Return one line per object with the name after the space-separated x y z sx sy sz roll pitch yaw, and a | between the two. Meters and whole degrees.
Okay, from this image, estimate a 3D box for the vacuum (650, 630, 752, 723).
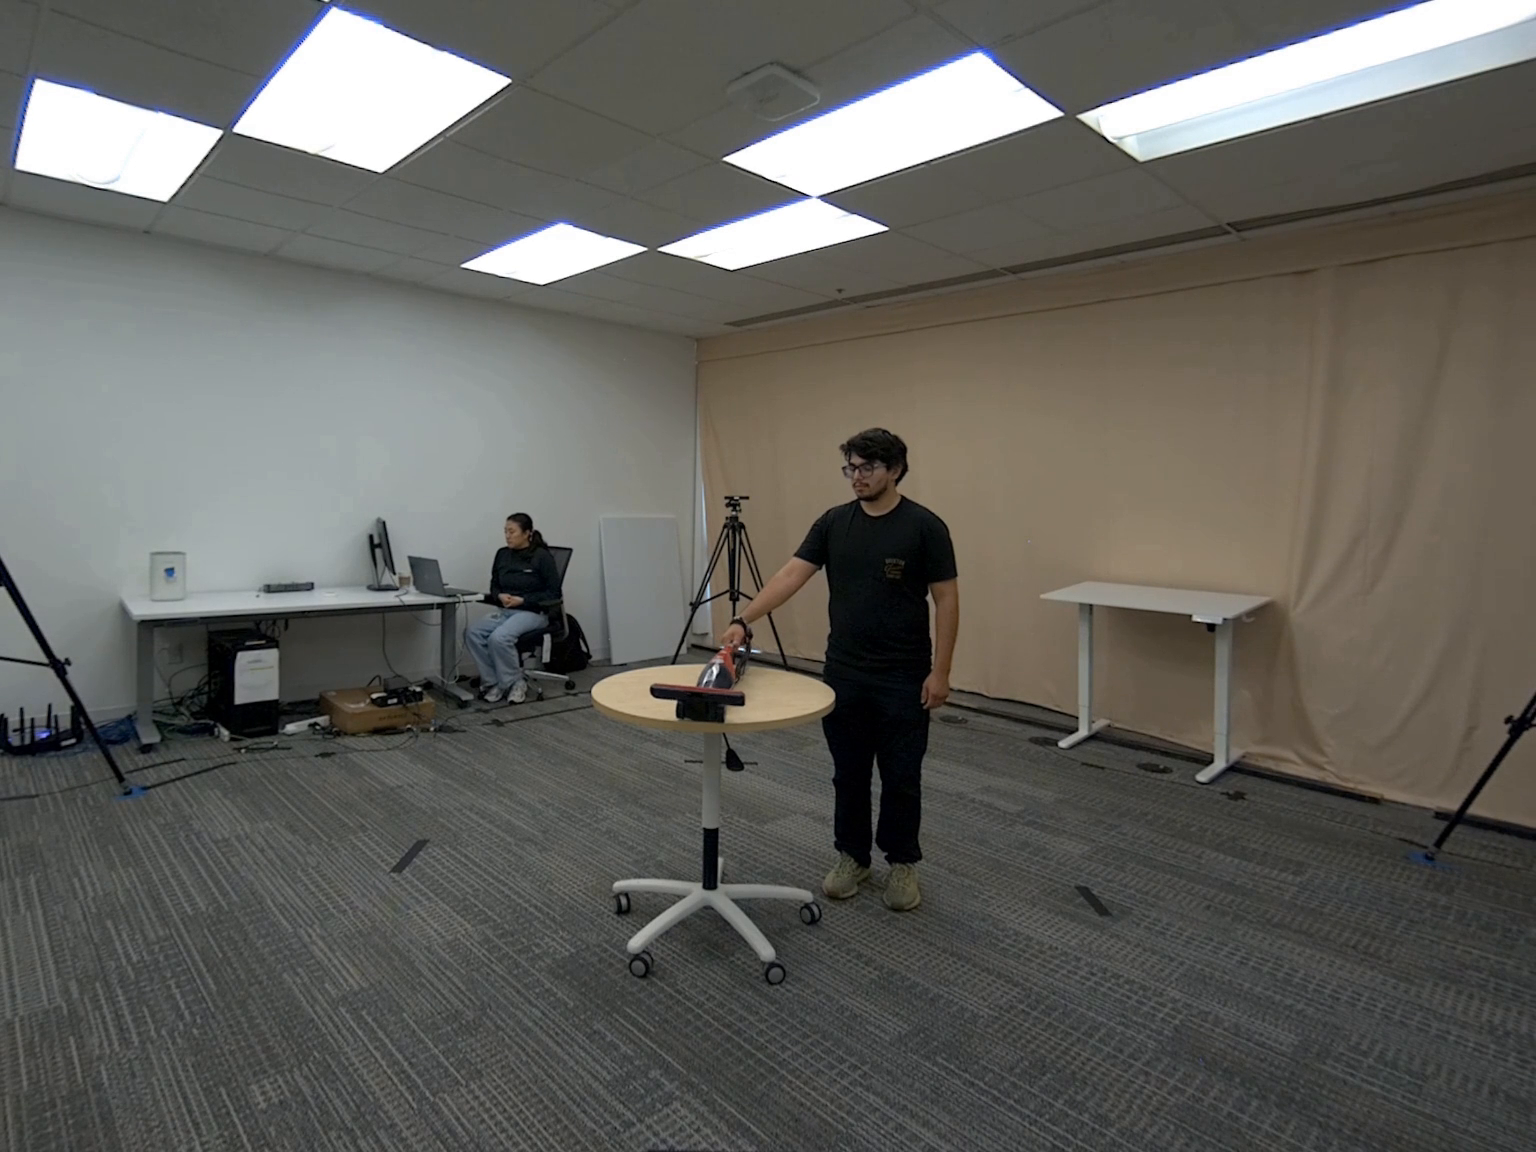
-0.132 0.297 2.775 0.254 0.143 1.047 1 6 6 | vacuum
